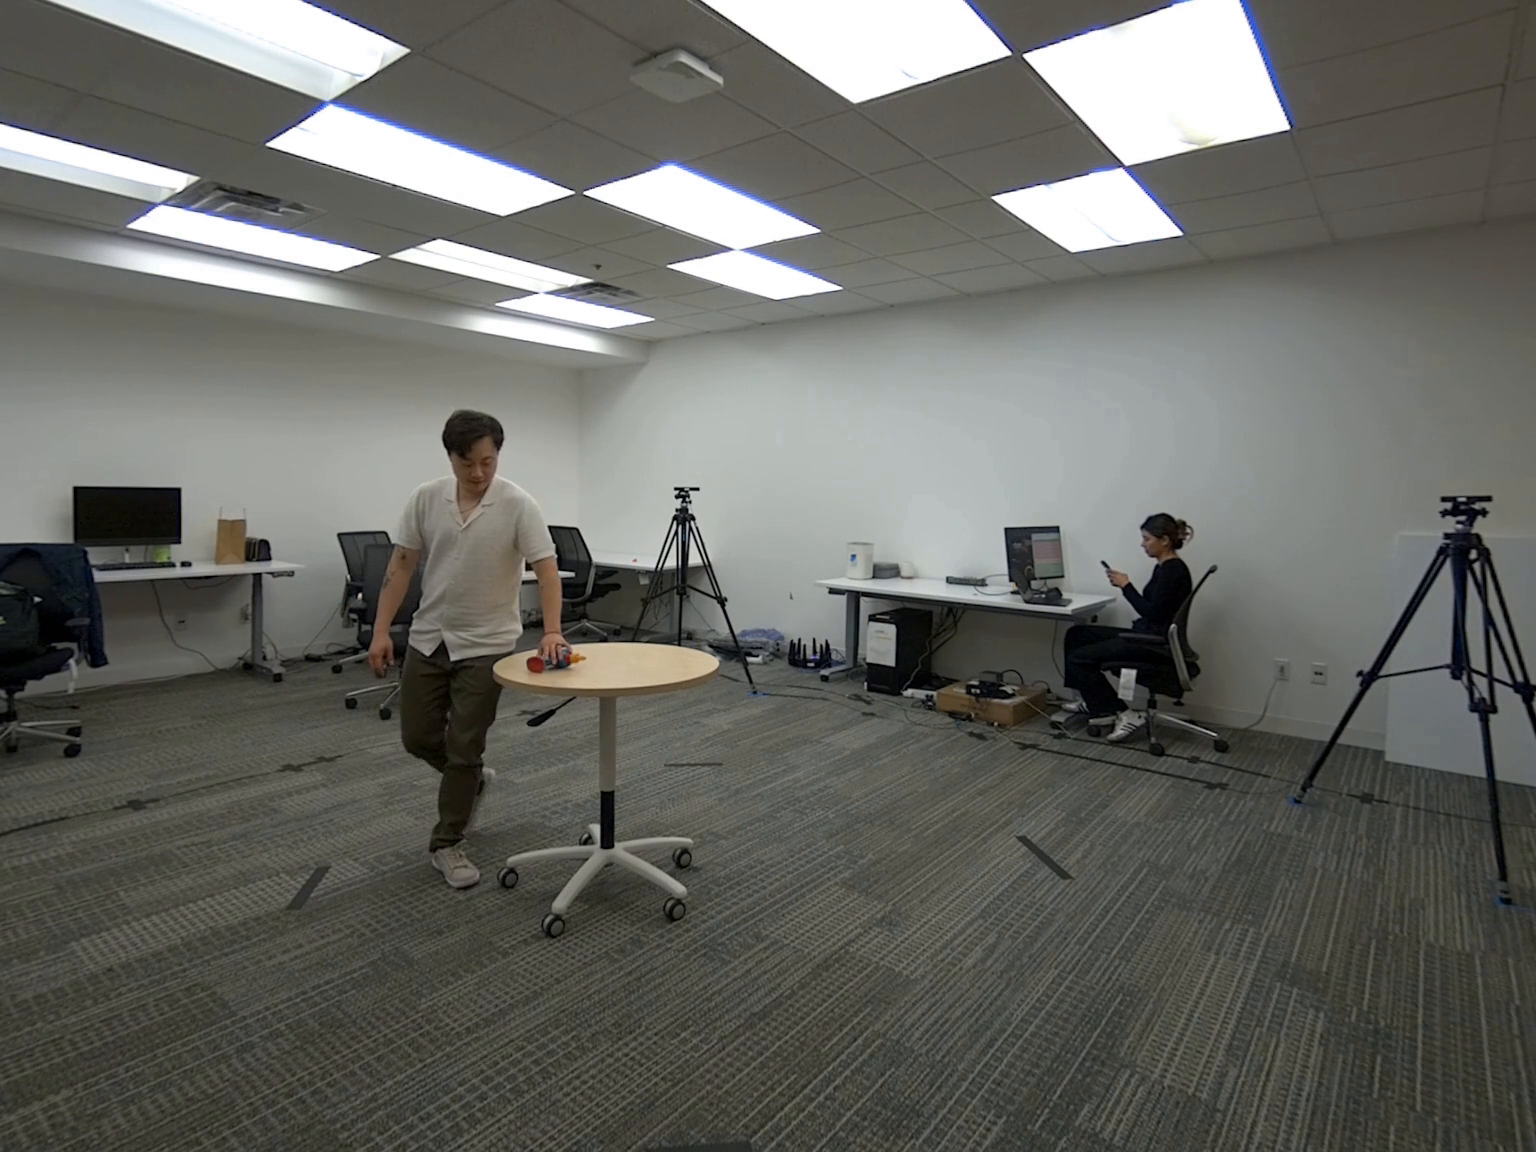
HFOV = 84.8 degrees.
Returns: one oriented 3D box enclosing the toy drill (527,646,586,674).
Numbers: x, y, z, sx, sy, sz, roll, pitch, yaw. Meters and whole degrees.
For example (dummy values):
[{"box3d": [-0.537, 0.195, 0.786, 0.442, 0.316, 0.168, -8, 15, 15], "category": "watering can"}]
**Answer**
[{"box3d": [-0.703, 0.276, 2.810, 0.174, 0.061, 0.143, -2, 5, 25], "category": "toy drill"}]
